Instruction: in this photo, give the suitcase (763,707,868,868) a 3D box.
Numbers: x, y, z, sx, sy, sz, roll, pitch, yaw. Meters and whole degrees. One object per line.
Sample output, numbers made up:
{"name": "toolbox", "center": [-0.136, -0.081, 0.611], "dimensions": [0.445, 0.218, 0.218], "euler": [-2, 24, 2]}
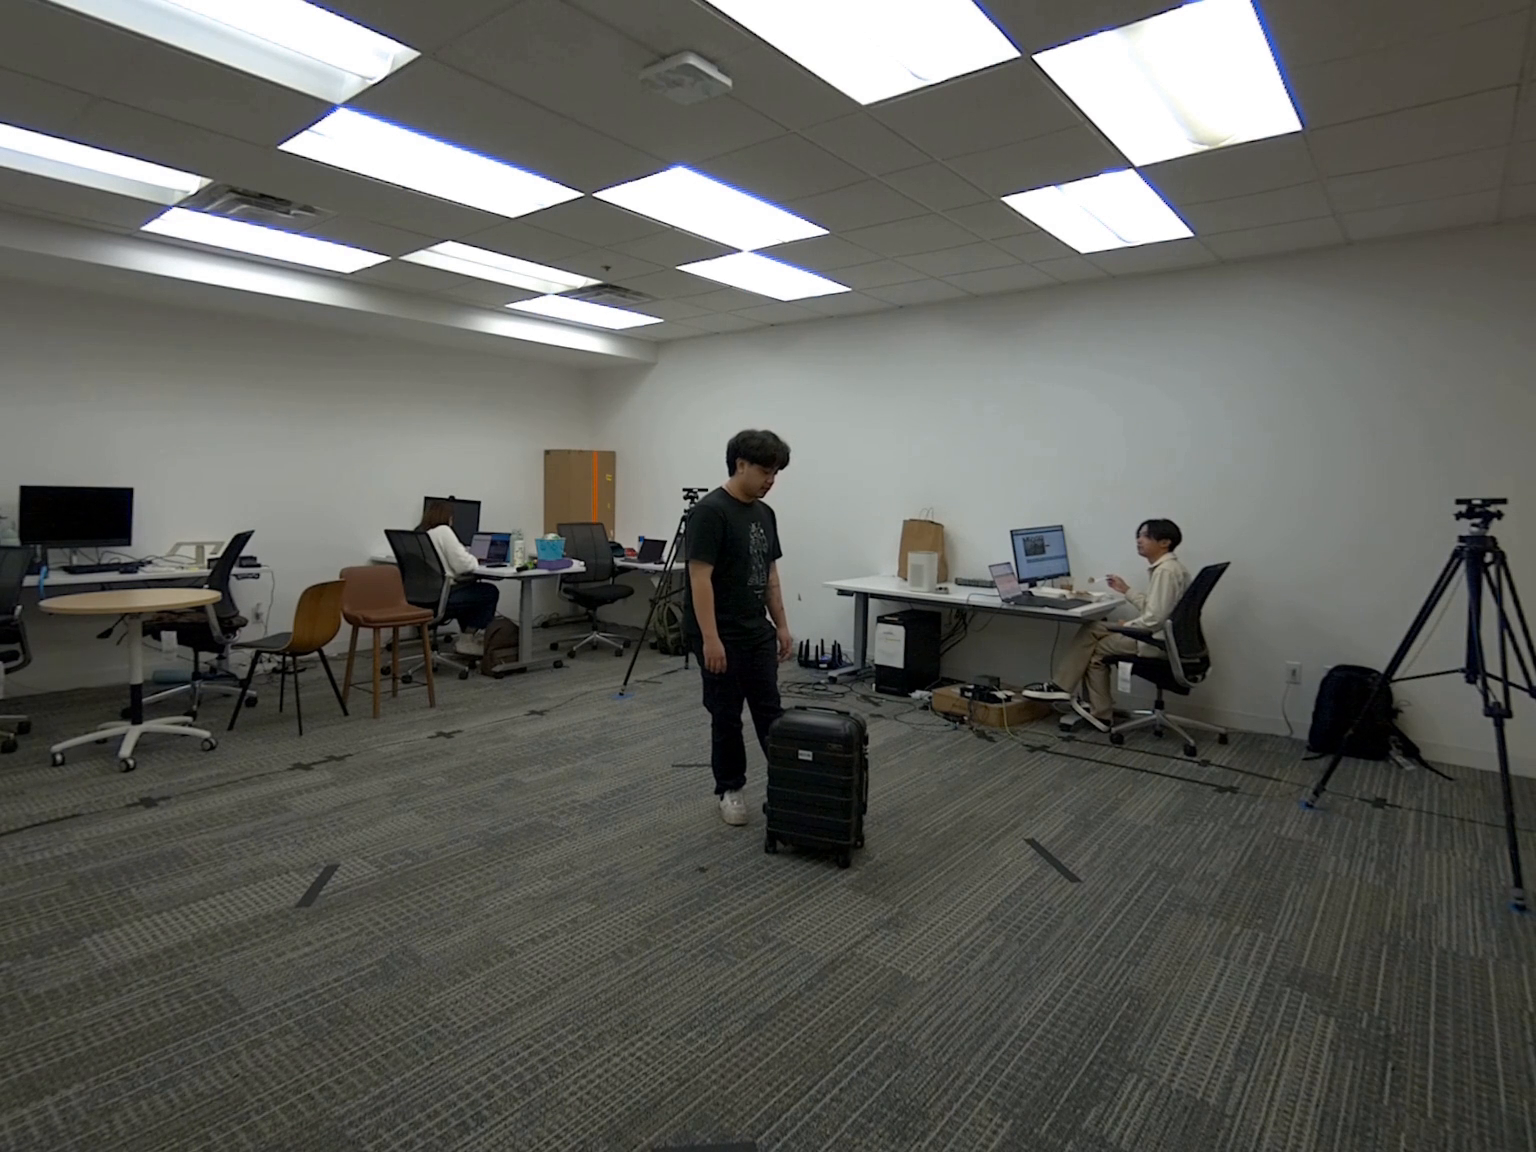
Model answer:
{"name": "suitcase", "center": [0.185, 0.787, 3.277], "dimensions": [0.384, 0.547, 0.244], "euler": [4, 6, 22]}
